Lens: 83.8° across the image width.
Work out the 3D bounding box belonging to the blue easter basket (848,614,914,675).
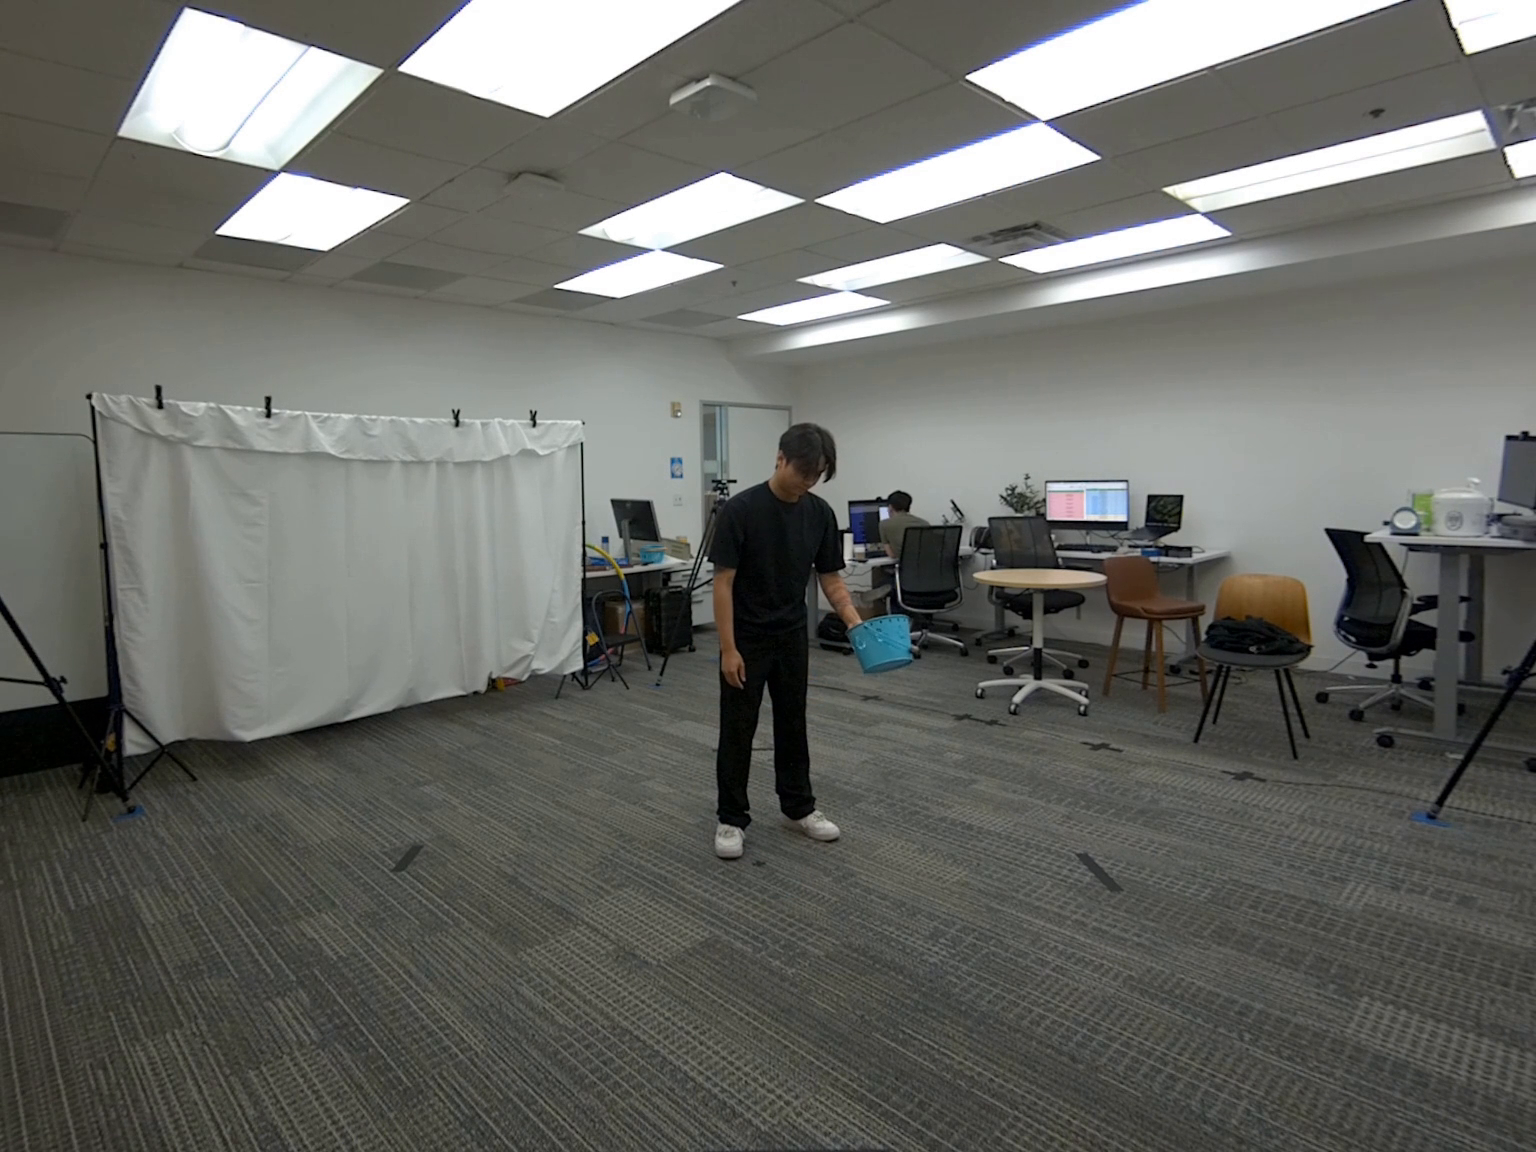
[{"bbox_3d":[0.413,0.253,3.036,0.243,0.159,0.239,-10,-18,-5],"label":"blue easter basket"}]
